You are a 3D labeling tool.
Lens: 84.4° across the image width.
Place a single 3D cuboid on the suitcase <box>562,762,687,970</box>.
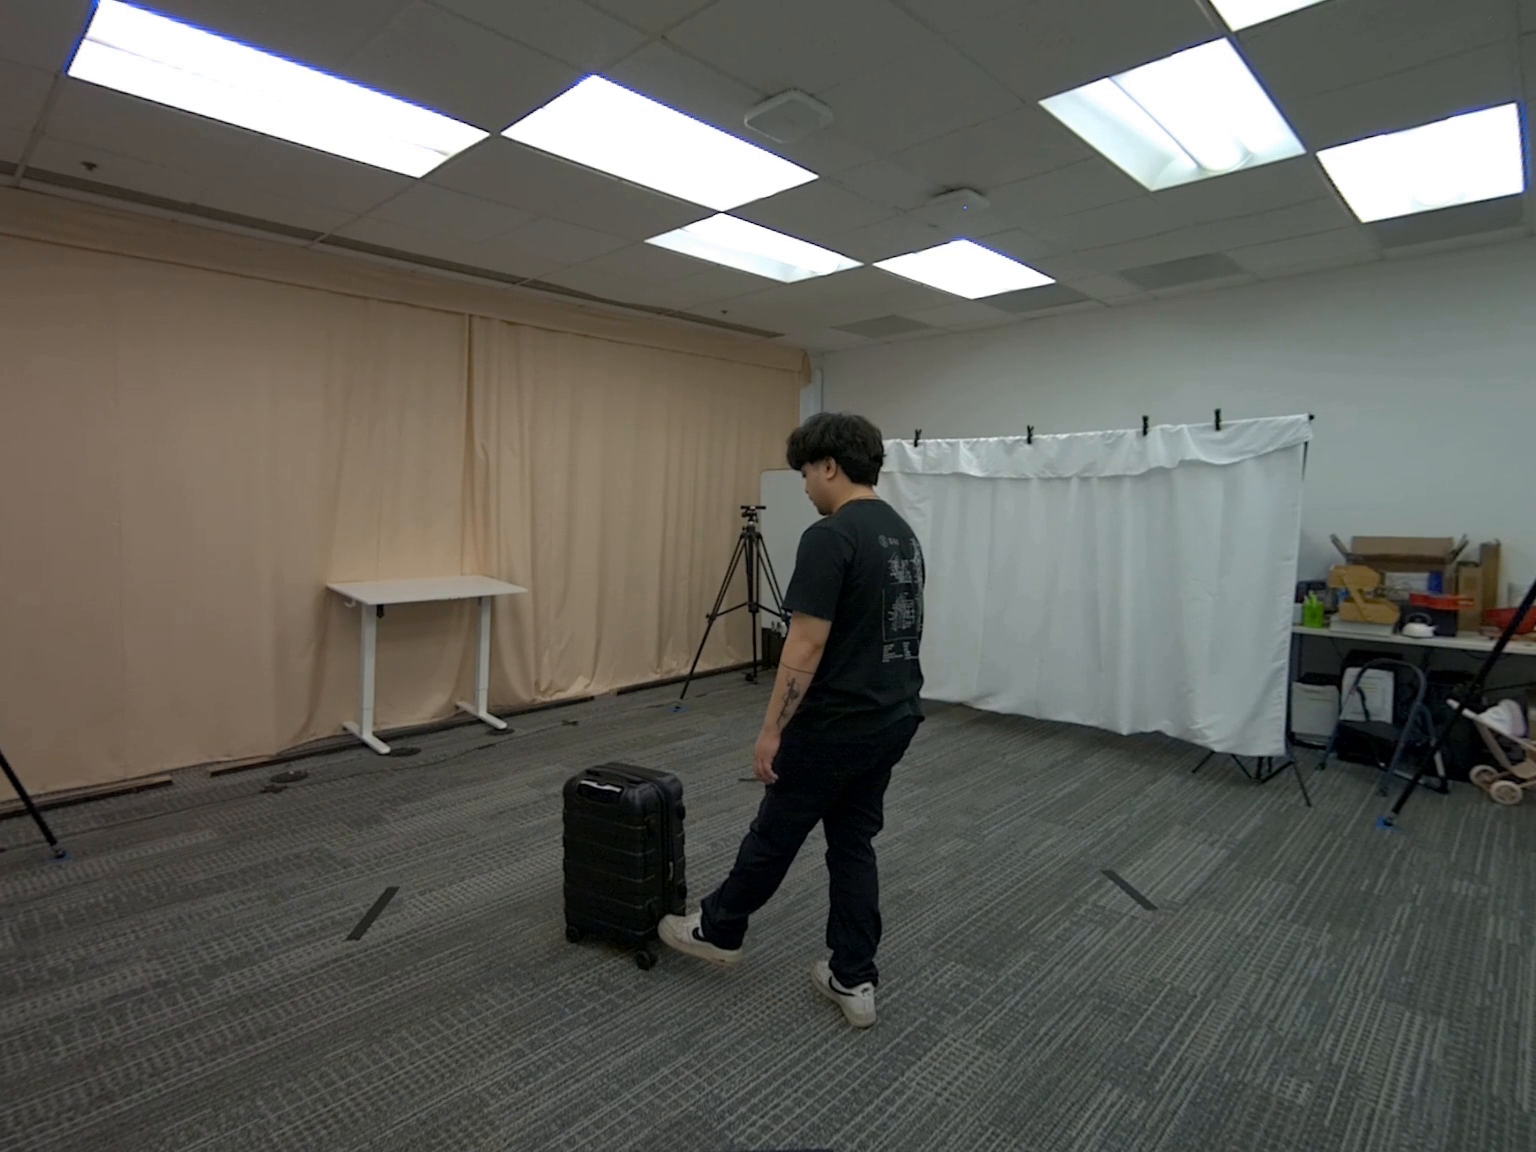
[{"bbox_3d":[-0.461,0.894,2.706,0.386,0.549,0.241,0,2,32],"label":"suitcase"}]
